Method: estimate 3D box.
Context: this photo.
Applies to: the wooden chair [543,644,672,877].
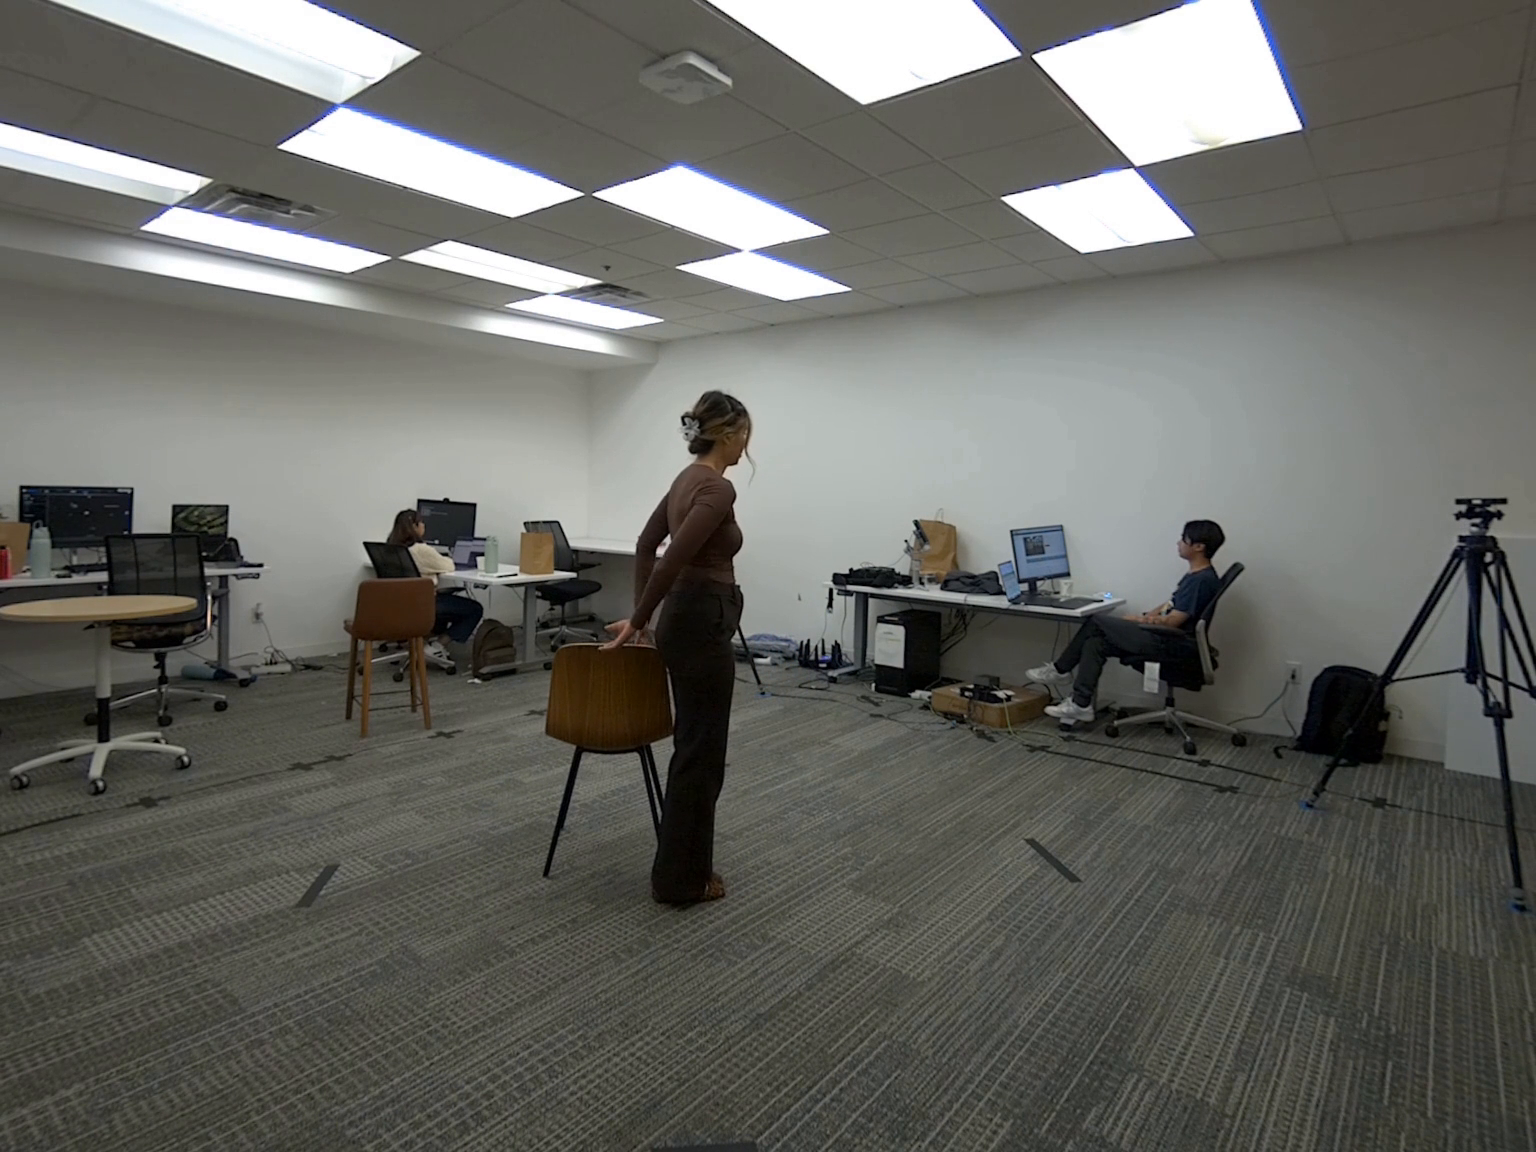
[{"bbox_3d":[-0.609,0.623,3.235,0.476,0.872,0.529,1,7,-5],"label":"wooden chair"}]
